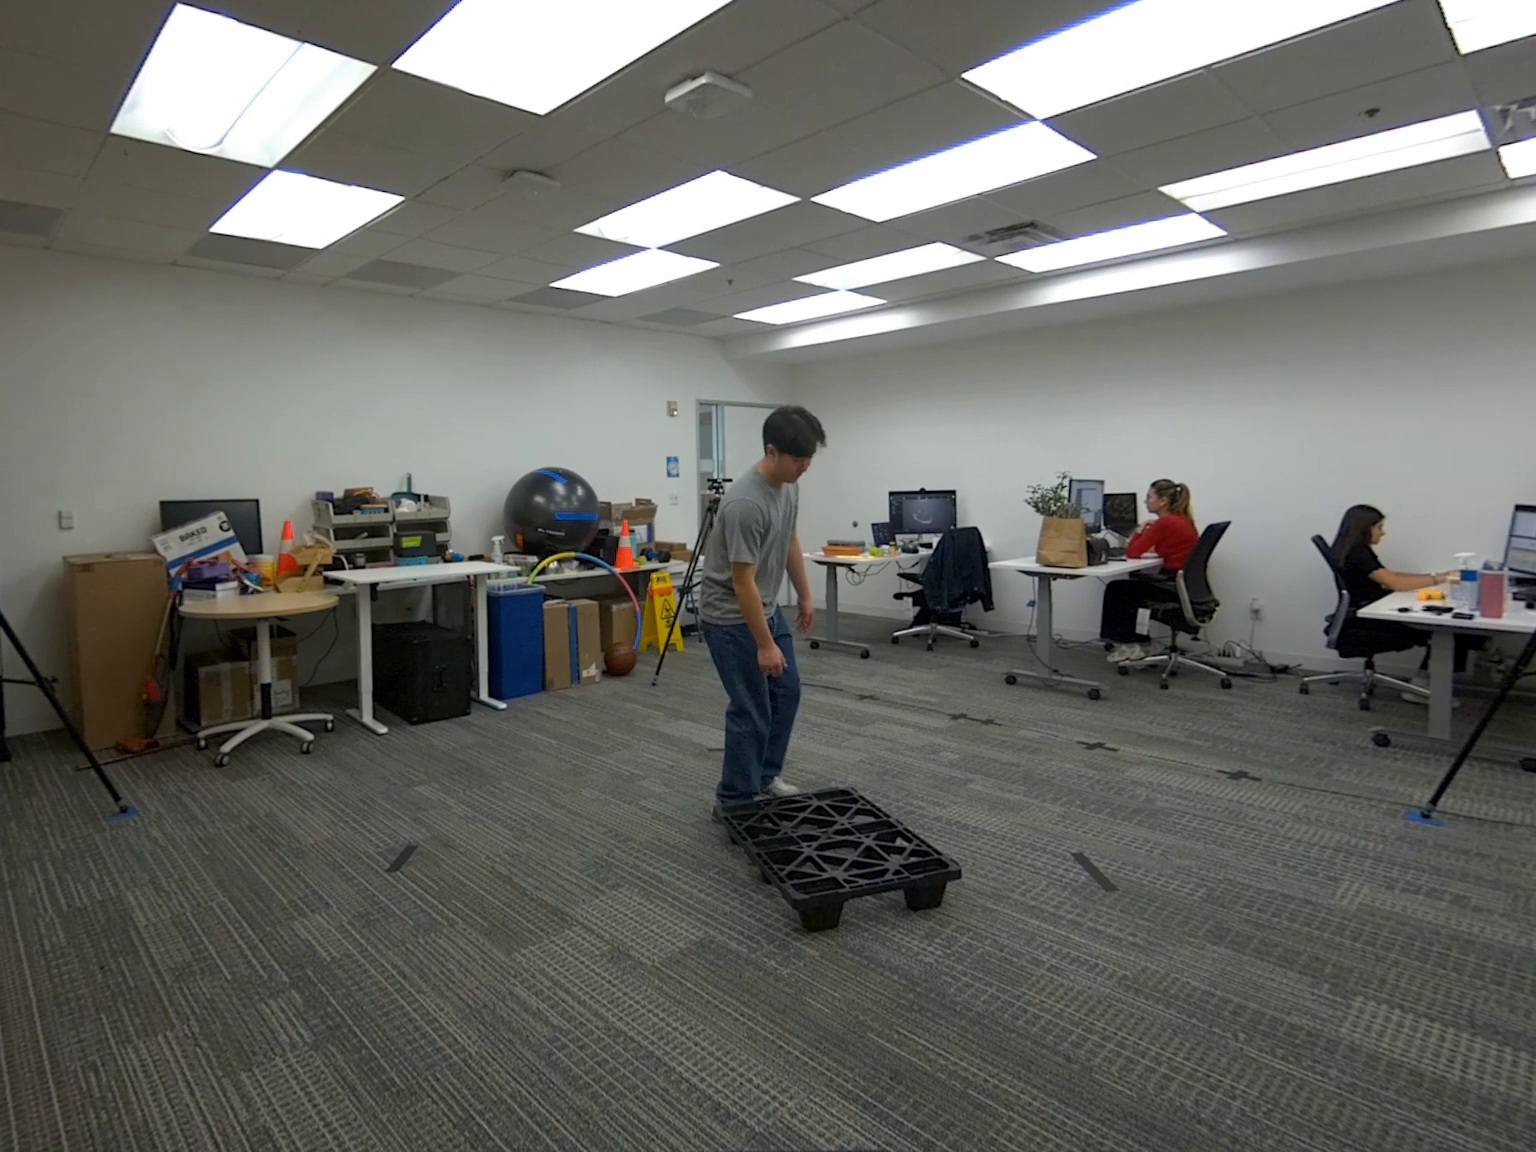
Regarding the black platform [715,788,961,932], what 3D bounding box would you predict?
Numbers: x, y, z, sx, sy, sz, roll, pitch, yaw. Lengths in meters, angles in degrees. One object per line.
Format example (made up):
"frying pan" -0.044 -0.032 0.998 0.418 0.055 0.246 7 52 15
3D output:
"black platform" 0.209 0.983 3.029 0.595 0.143 0.823 -4 6 -20
